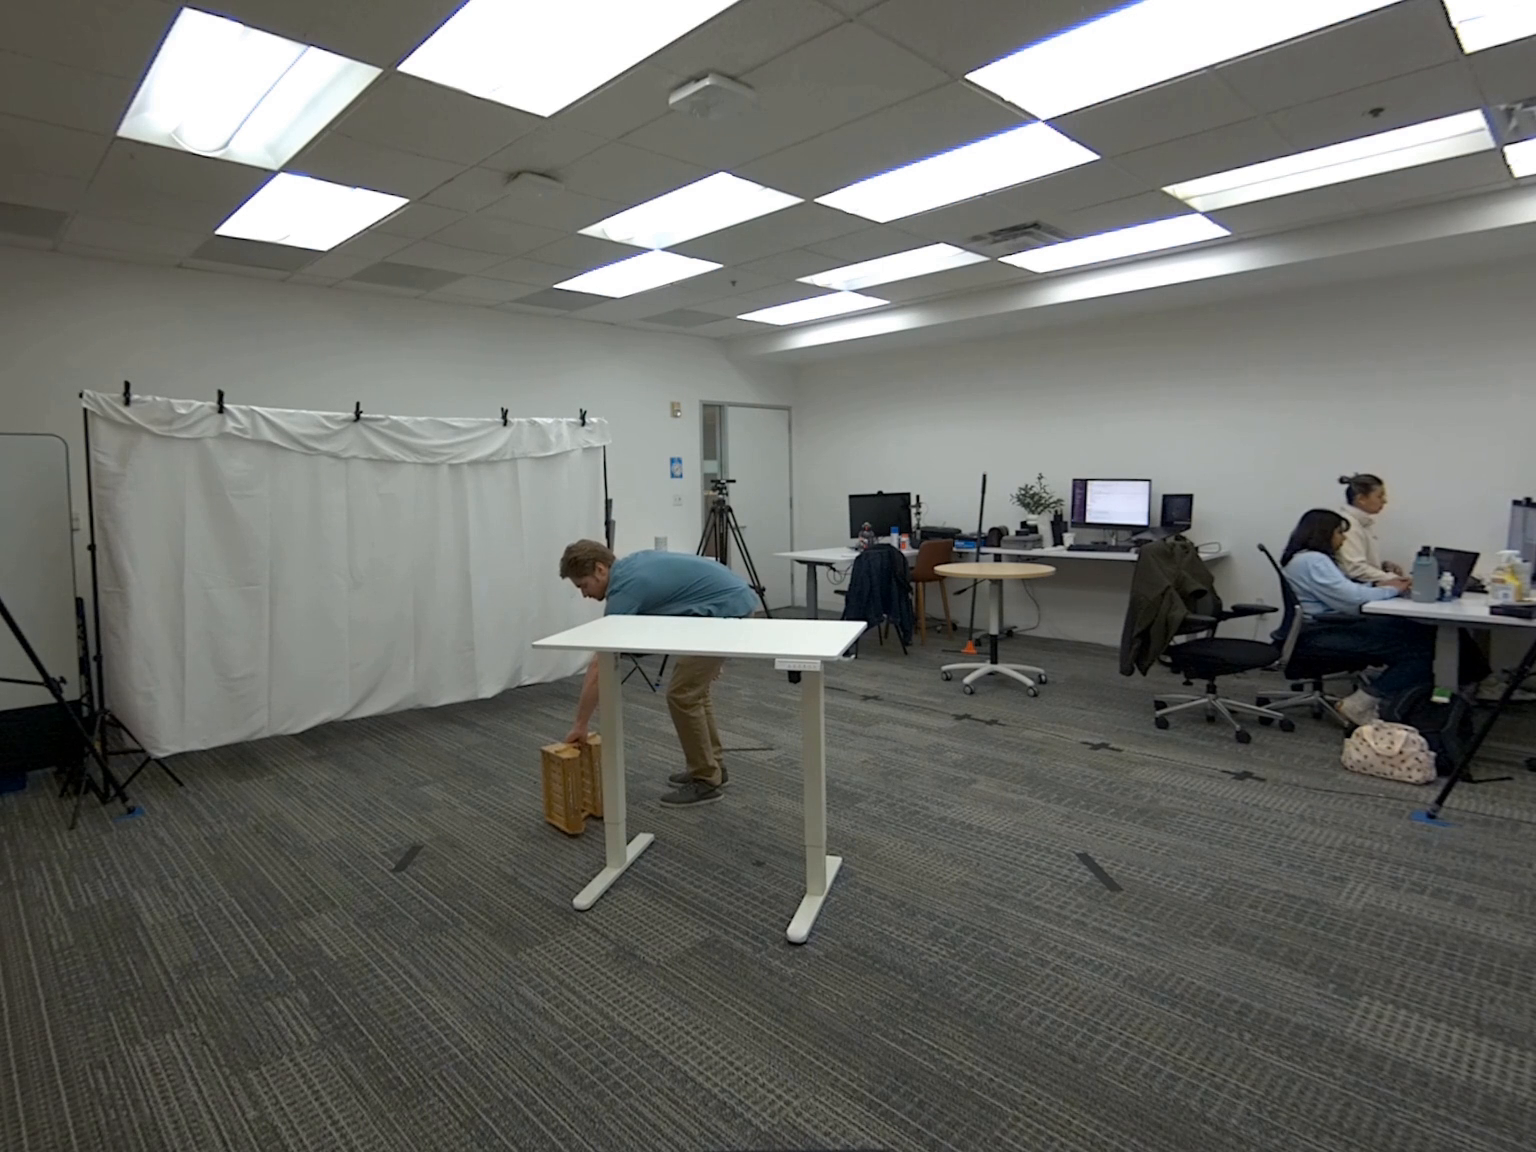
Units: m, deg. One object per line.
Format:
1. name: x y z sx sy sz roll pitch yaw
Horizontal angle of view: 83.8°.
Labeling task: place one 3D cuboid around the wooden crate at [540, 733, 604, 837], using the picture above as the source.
1. wooden crate: -0.767 0.846 3.535 0.266 0.324 0.311 -6 4 -40
